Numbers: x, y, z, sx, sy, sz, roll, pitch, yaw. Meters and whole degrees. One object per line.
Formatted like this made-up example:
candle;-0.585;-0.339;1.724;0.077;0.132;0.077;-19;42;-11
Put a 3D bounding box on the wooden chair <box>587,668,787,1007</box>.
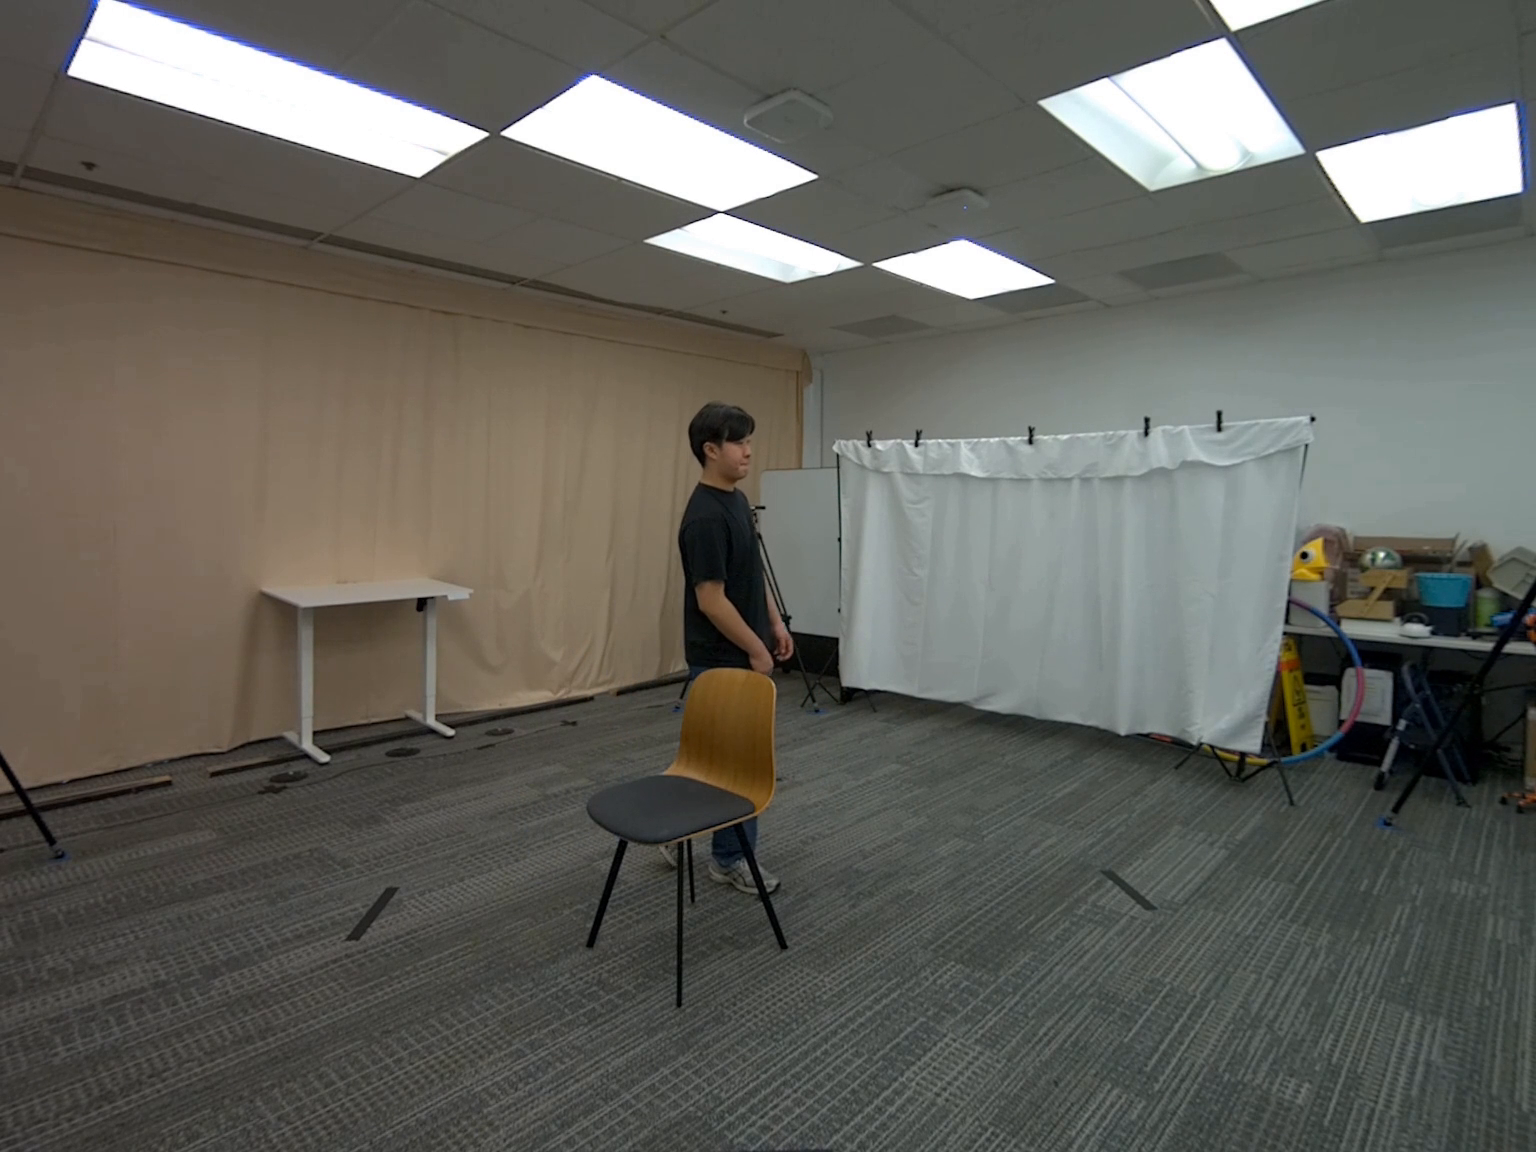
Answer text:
wooden chair;-0.257;0.746;2.620;0.506;0.877;0.494;3;1;-45
